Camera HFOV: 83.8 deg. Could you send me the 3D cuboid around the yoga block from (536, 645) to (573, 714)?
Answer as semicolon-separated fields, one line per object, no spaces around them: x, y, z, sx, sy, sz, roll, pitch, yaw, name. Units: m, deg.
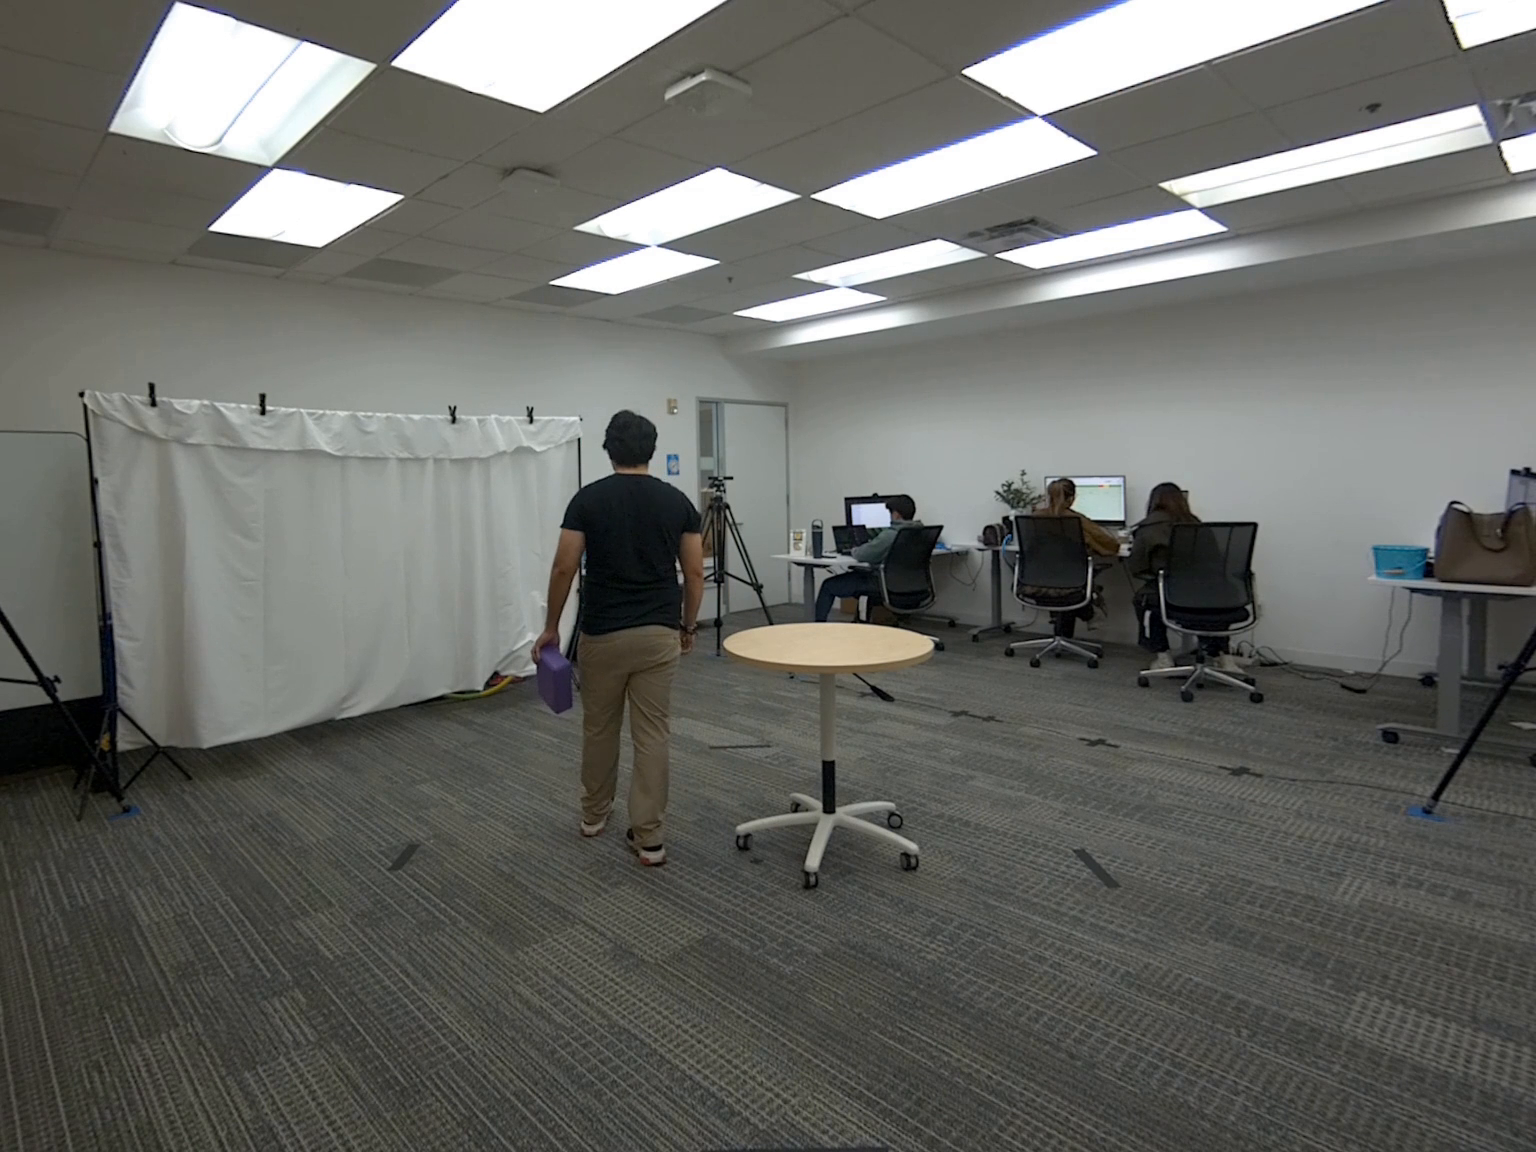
-0.811;0.388;3.257;0.075;0.224;0.155;-20;40;-34;yoga block
